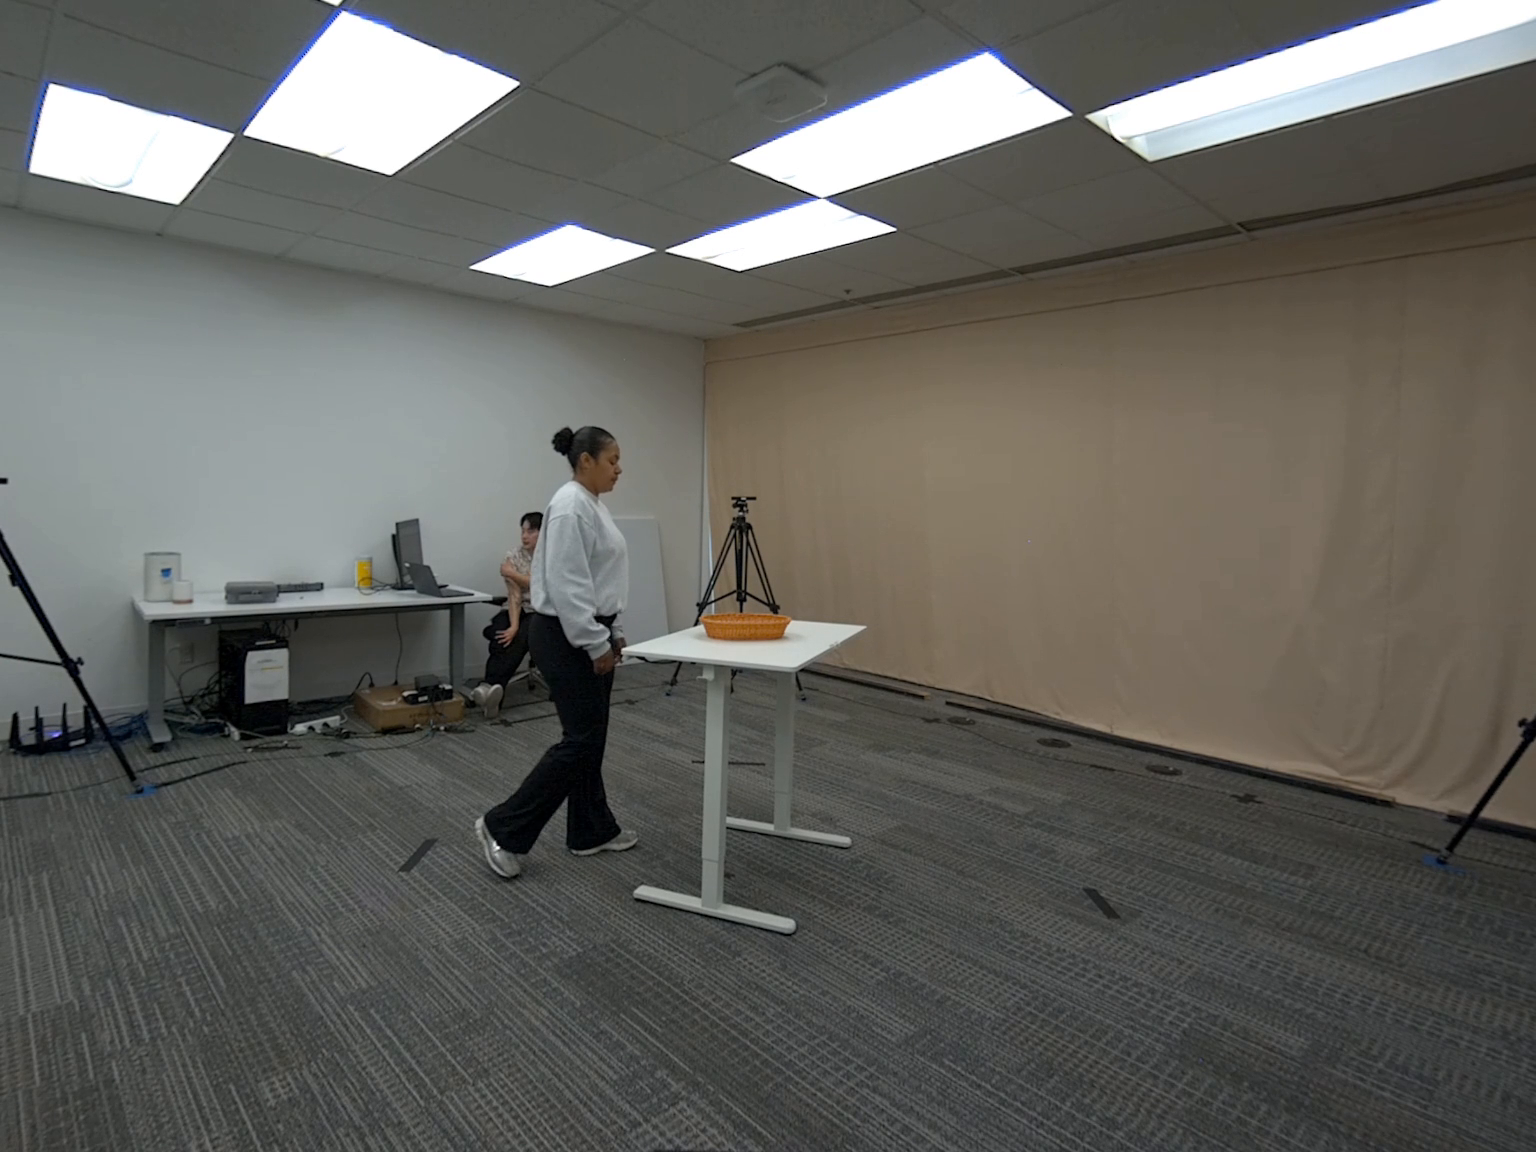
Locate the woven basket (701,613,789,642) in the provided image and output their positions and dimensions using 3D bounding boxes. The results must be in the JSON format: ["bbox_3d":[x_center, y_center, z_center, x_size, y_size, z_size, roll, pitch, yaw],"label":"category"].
[{"bbox_3d":[-0.102,0.194,3.106,0.346,0.073,0.256,1,6,-16],"label":"woven basket"}]
